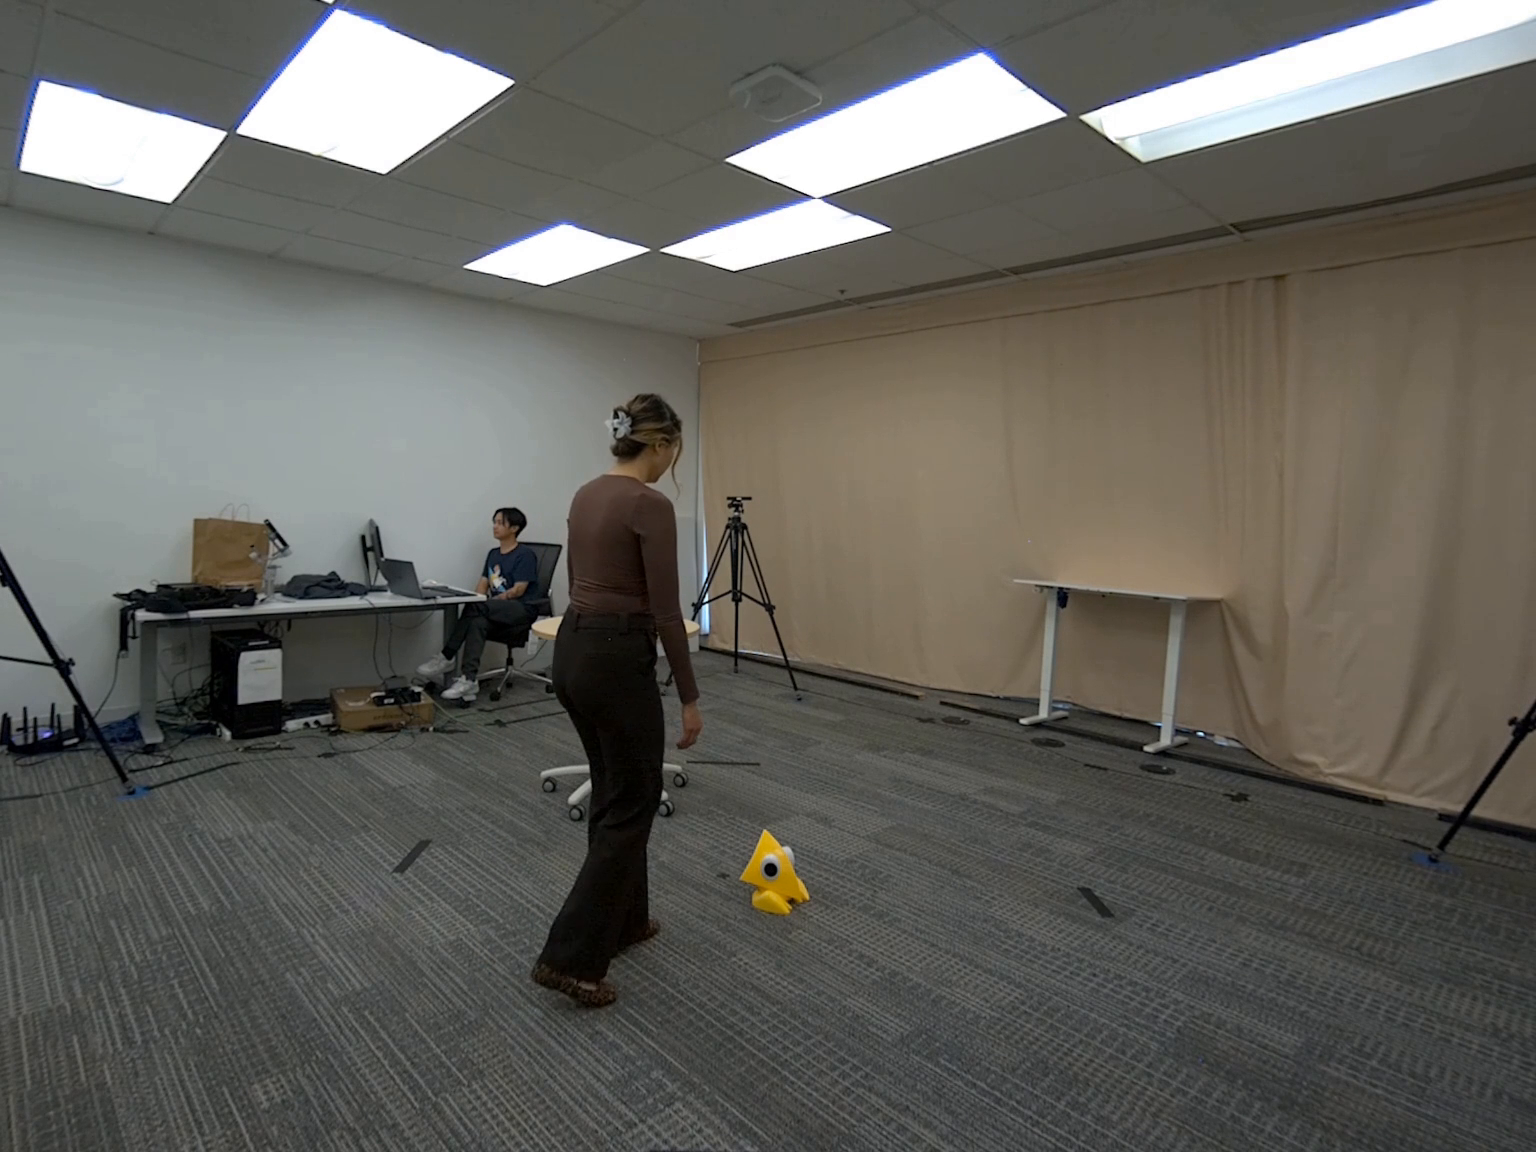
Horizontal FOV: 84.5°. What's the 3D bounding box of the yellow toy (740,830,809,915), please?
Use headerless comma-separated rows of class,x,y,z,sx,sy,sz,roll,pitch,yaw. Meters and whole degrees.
yellow toy,0.029,1.018,2.924,0.198,0.230,0.200,4,5,36
